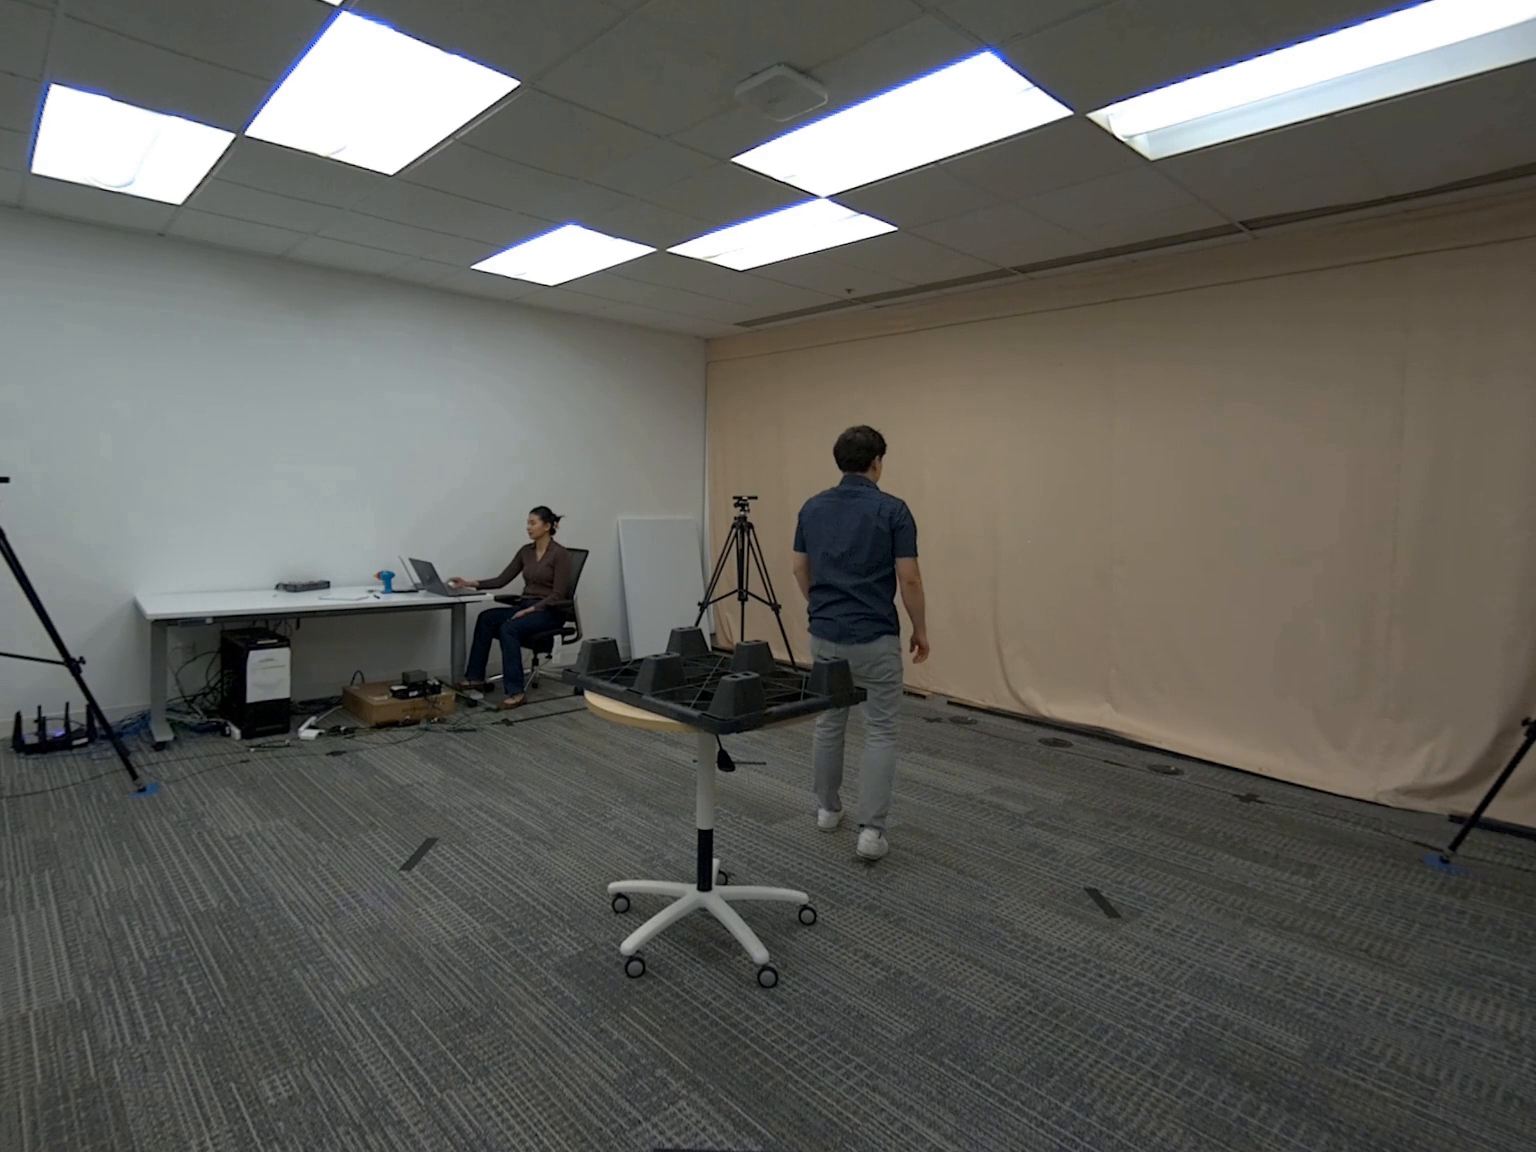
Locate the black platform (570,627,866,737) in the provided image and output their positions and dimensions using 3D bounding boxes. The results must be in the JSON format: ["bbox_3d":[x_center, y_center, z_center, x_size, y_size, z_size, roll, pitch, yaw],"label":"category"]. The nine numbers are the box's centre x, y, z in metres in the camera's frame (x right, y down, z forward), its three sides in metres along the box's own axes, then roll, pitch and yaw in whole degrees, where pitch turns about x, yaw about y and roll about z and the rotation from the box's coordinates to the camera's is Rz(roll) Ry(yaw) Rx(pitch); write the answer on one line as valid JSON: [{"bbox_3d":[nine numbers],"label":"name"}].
[{"bbox_3d":[-0.196,0.298,2.631,0.591,0.143,0.826,-4,7,-44],"label":"black platform"}]
